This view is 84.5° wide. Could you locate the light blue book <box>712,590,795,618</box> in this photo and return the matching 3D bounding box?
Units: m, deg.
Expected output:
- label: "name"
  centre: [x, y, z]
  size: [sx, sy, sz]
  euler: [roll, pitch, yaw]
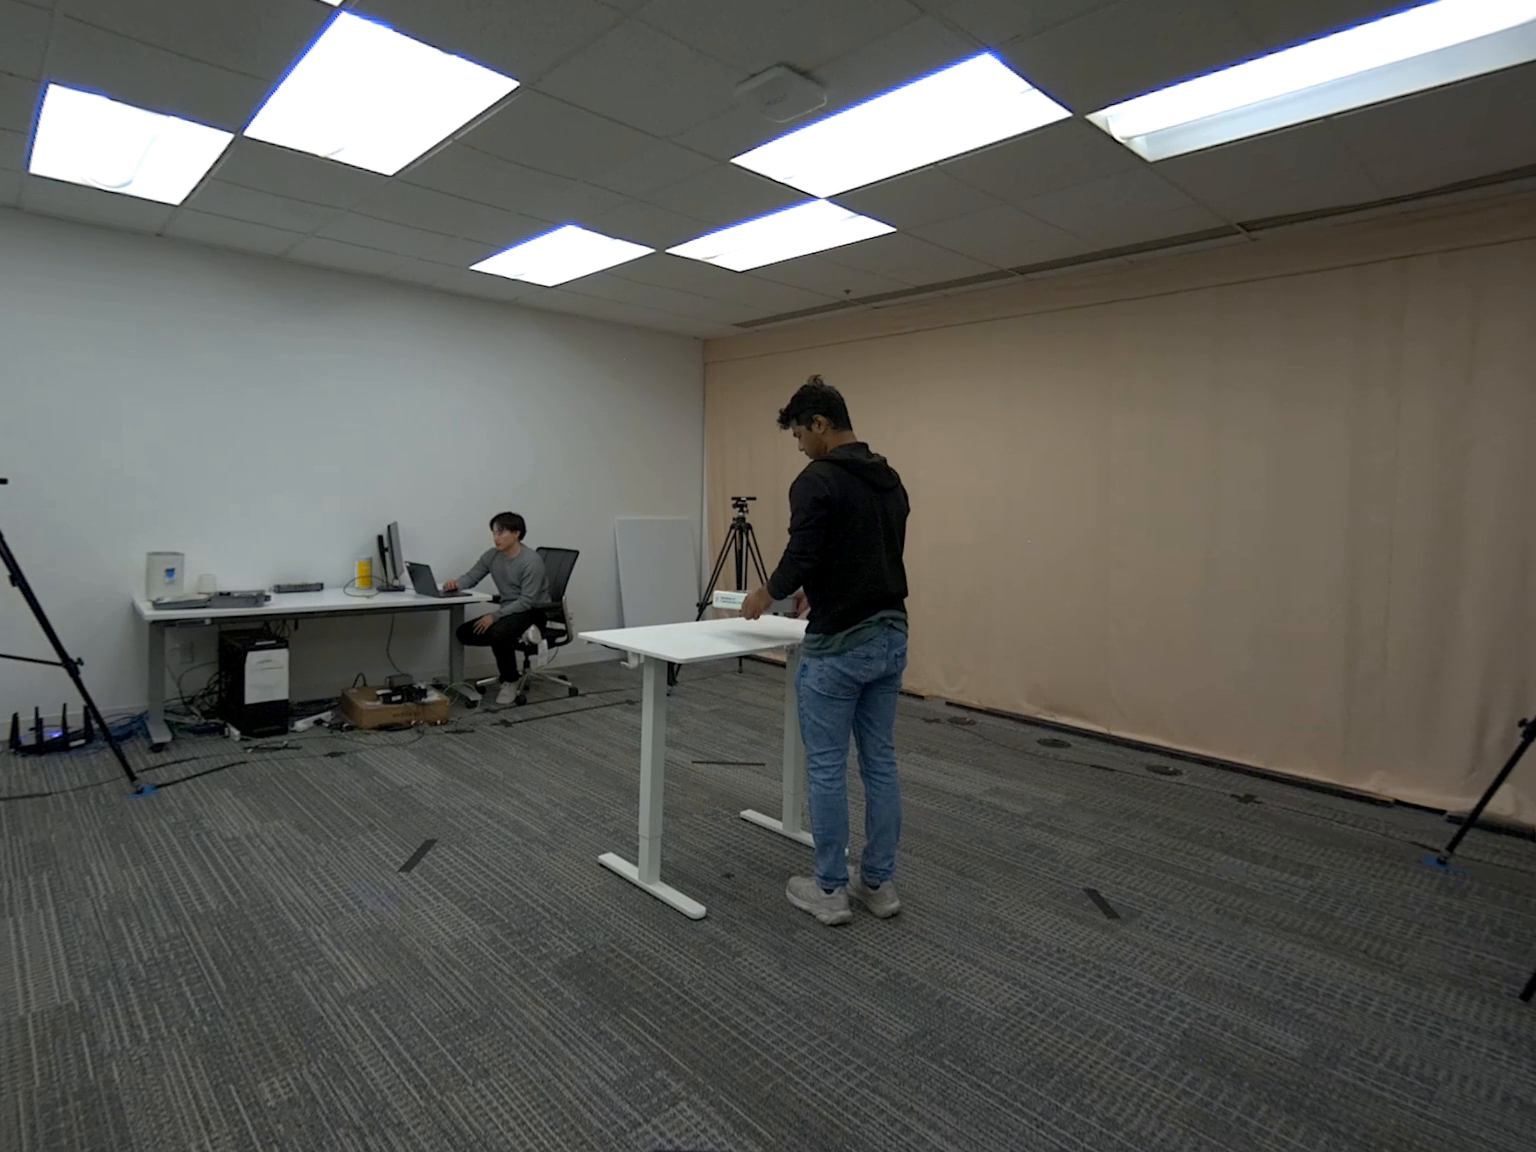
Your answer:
- label: "light blue book"
  centre: [-0.056, 0.098, 3.135]
  size: [0.267, 0.059, 0.187]
  euler: [5, 3, 41]
